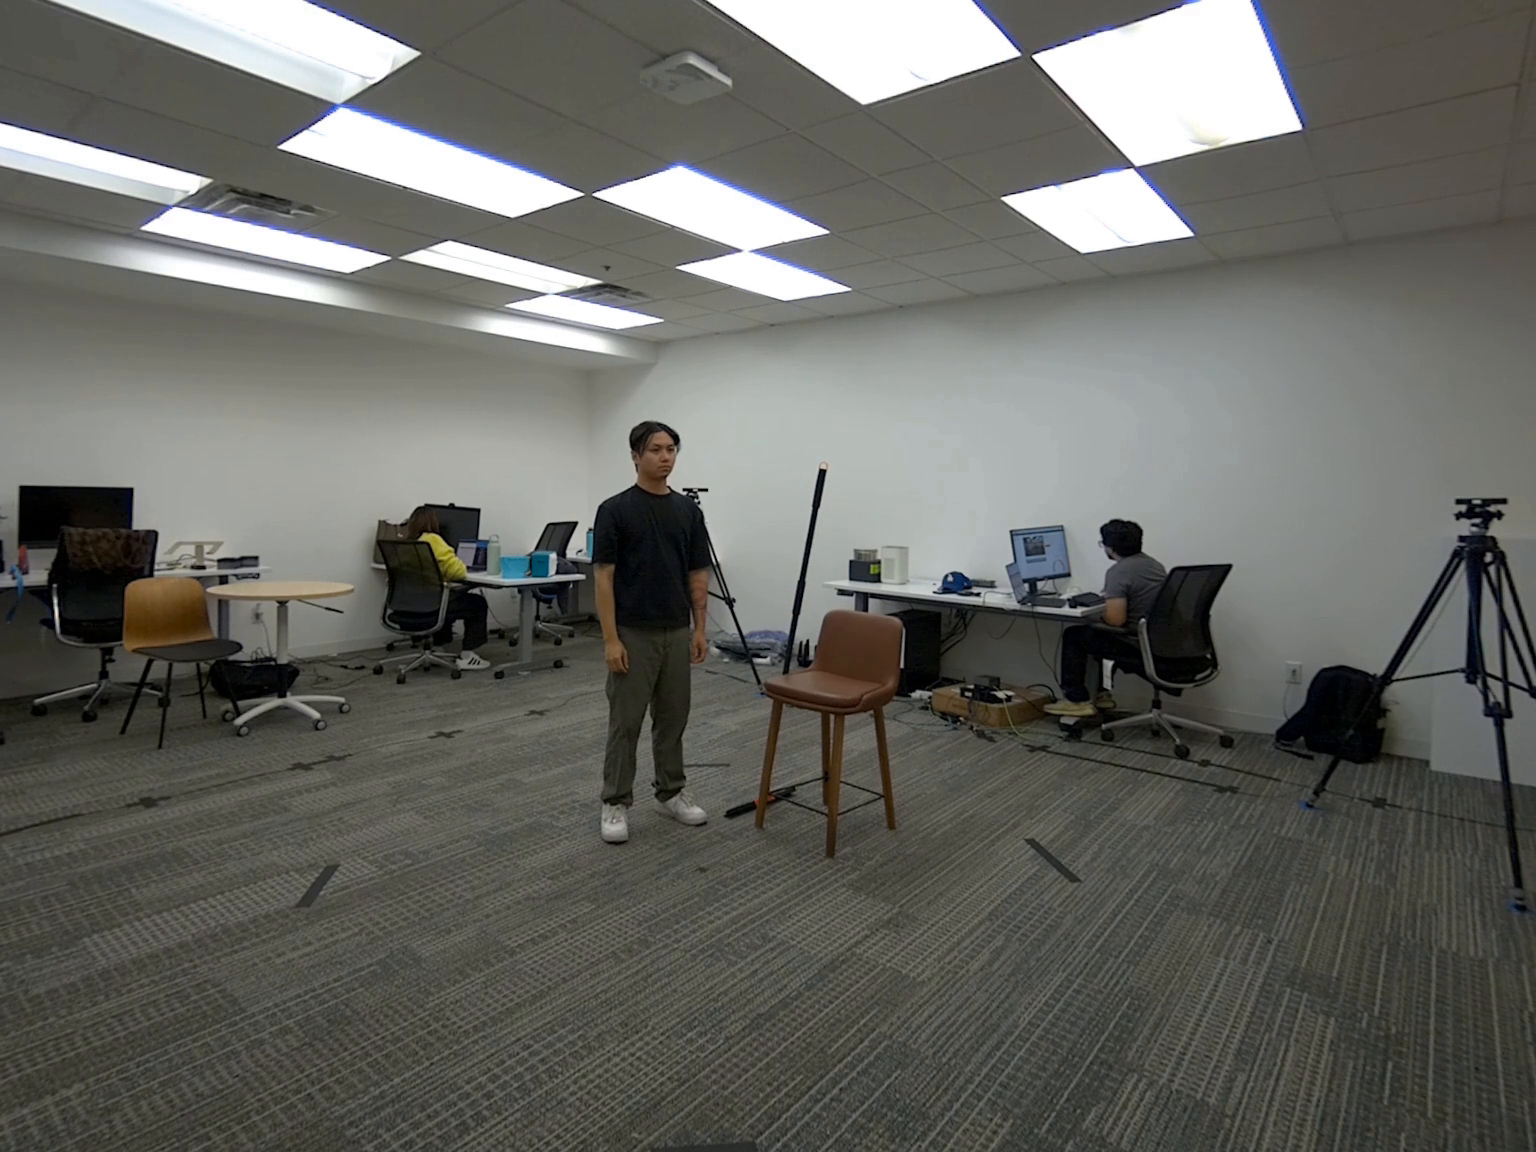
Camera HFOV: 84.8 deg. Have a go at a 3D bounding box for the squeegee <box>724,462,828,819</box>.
[{"bbox_3d":[0.088,0.265,3.616,0.424,1.528,0.055,4,9,-35],"label":"squeegee"}]
